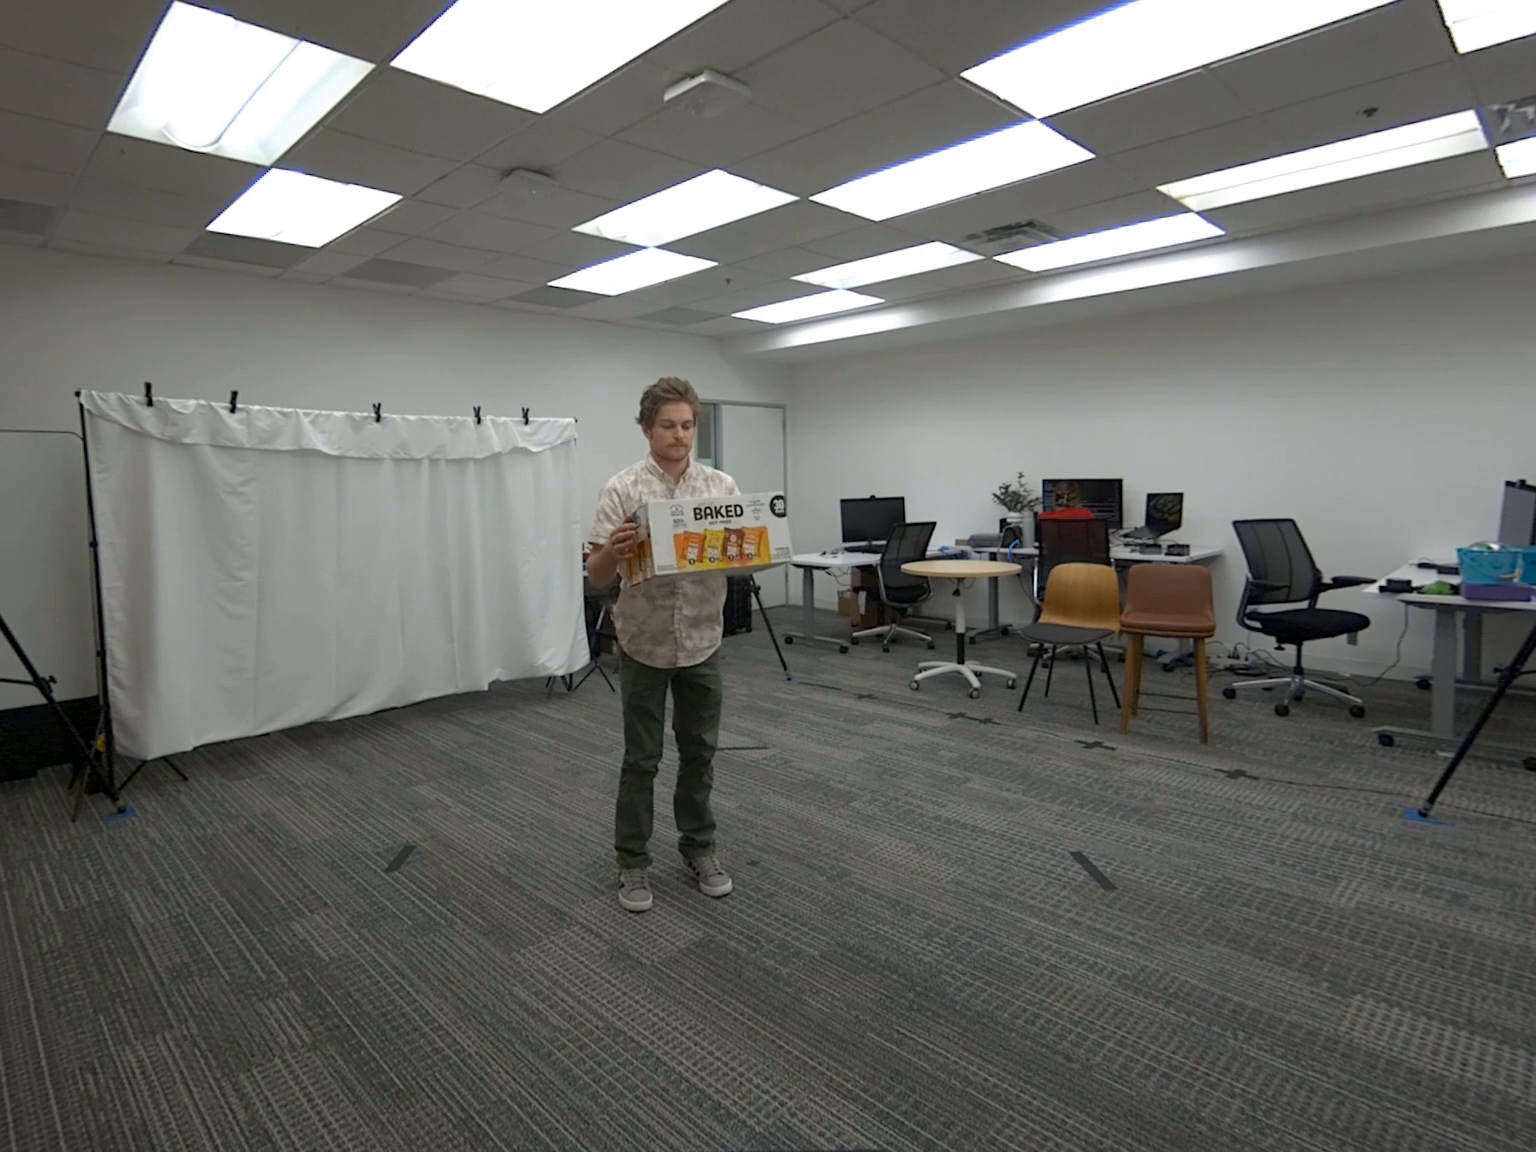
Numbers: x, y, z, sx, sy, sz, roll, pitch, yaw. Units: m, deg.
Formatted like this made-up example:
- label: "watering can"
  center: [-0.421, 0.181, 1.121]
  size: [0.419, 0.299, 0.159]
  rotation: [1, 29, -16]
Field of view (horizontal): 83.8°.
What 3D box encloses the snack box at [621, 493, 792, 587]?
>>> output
- label: "snack box"
  center: [-0.194, -0.096, 2.501]
  size: [0.398, 0.207, 0.344]
  rotation: [-5, -4, -22]
